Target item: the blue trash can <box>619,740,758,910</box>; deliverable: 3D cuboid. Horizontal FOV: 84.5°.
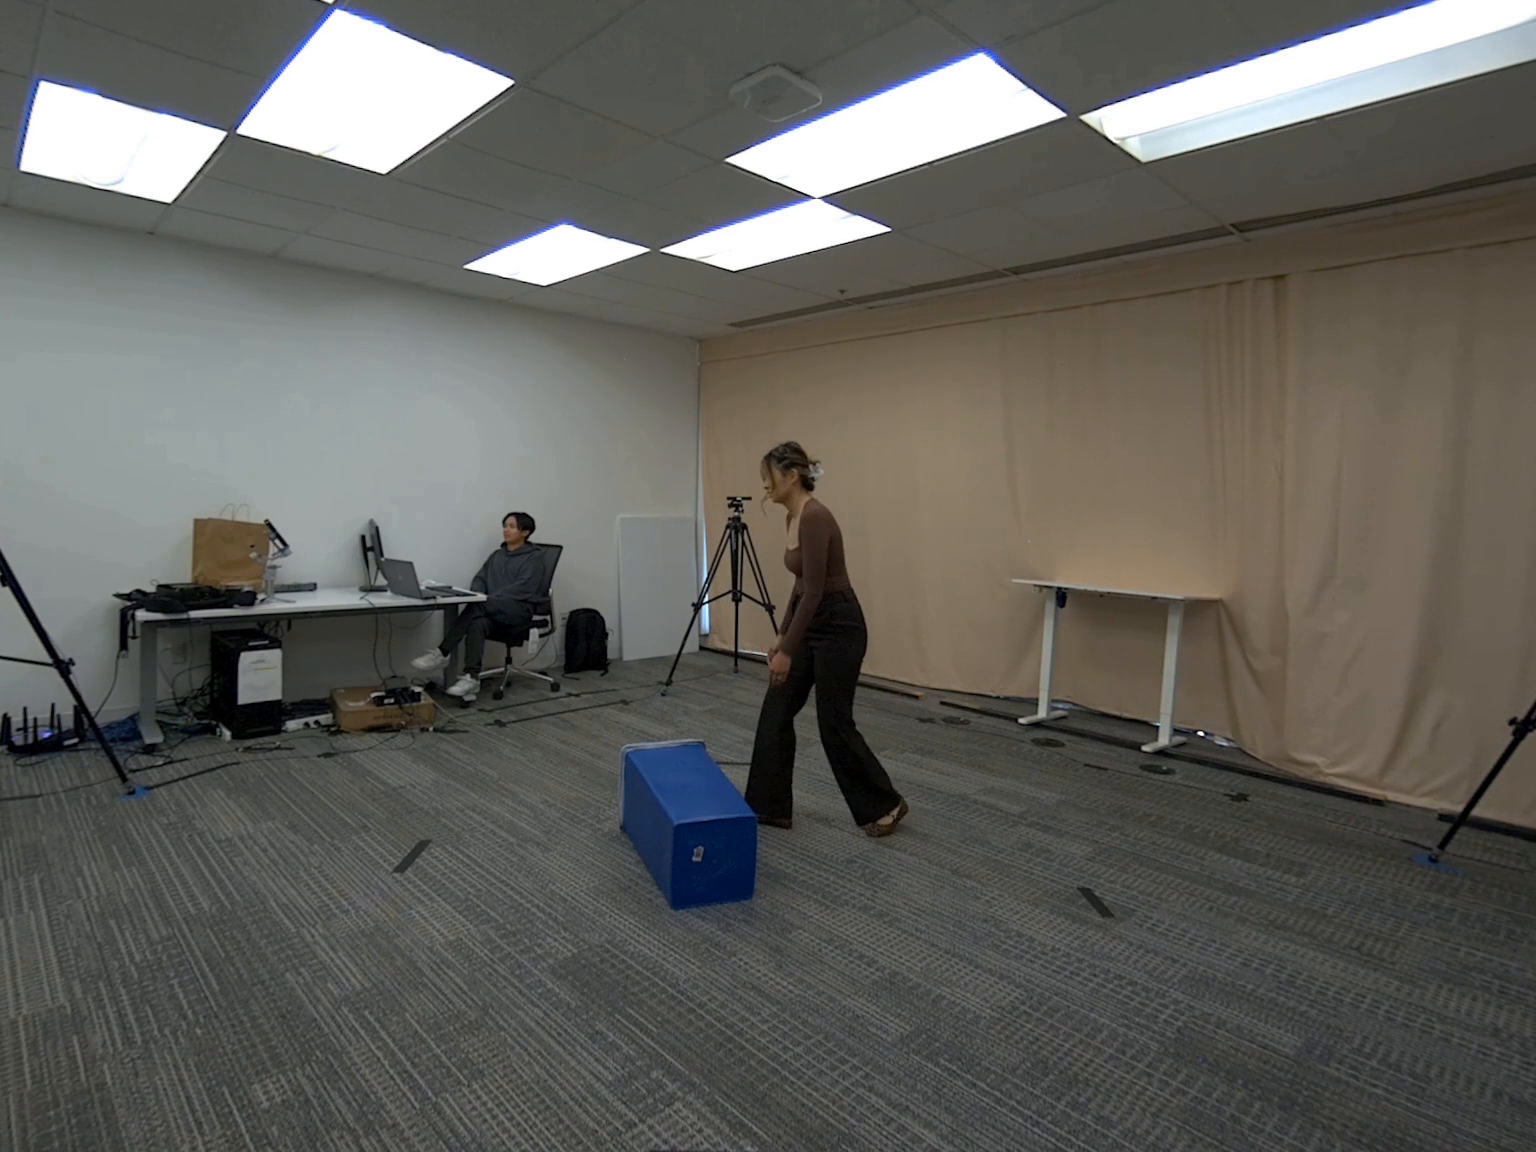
[{"bbox_3d":[-0.324,0.922,3.194,0.368,0.376,0.727,1,6,-21],"label":"blue trash can"}]
